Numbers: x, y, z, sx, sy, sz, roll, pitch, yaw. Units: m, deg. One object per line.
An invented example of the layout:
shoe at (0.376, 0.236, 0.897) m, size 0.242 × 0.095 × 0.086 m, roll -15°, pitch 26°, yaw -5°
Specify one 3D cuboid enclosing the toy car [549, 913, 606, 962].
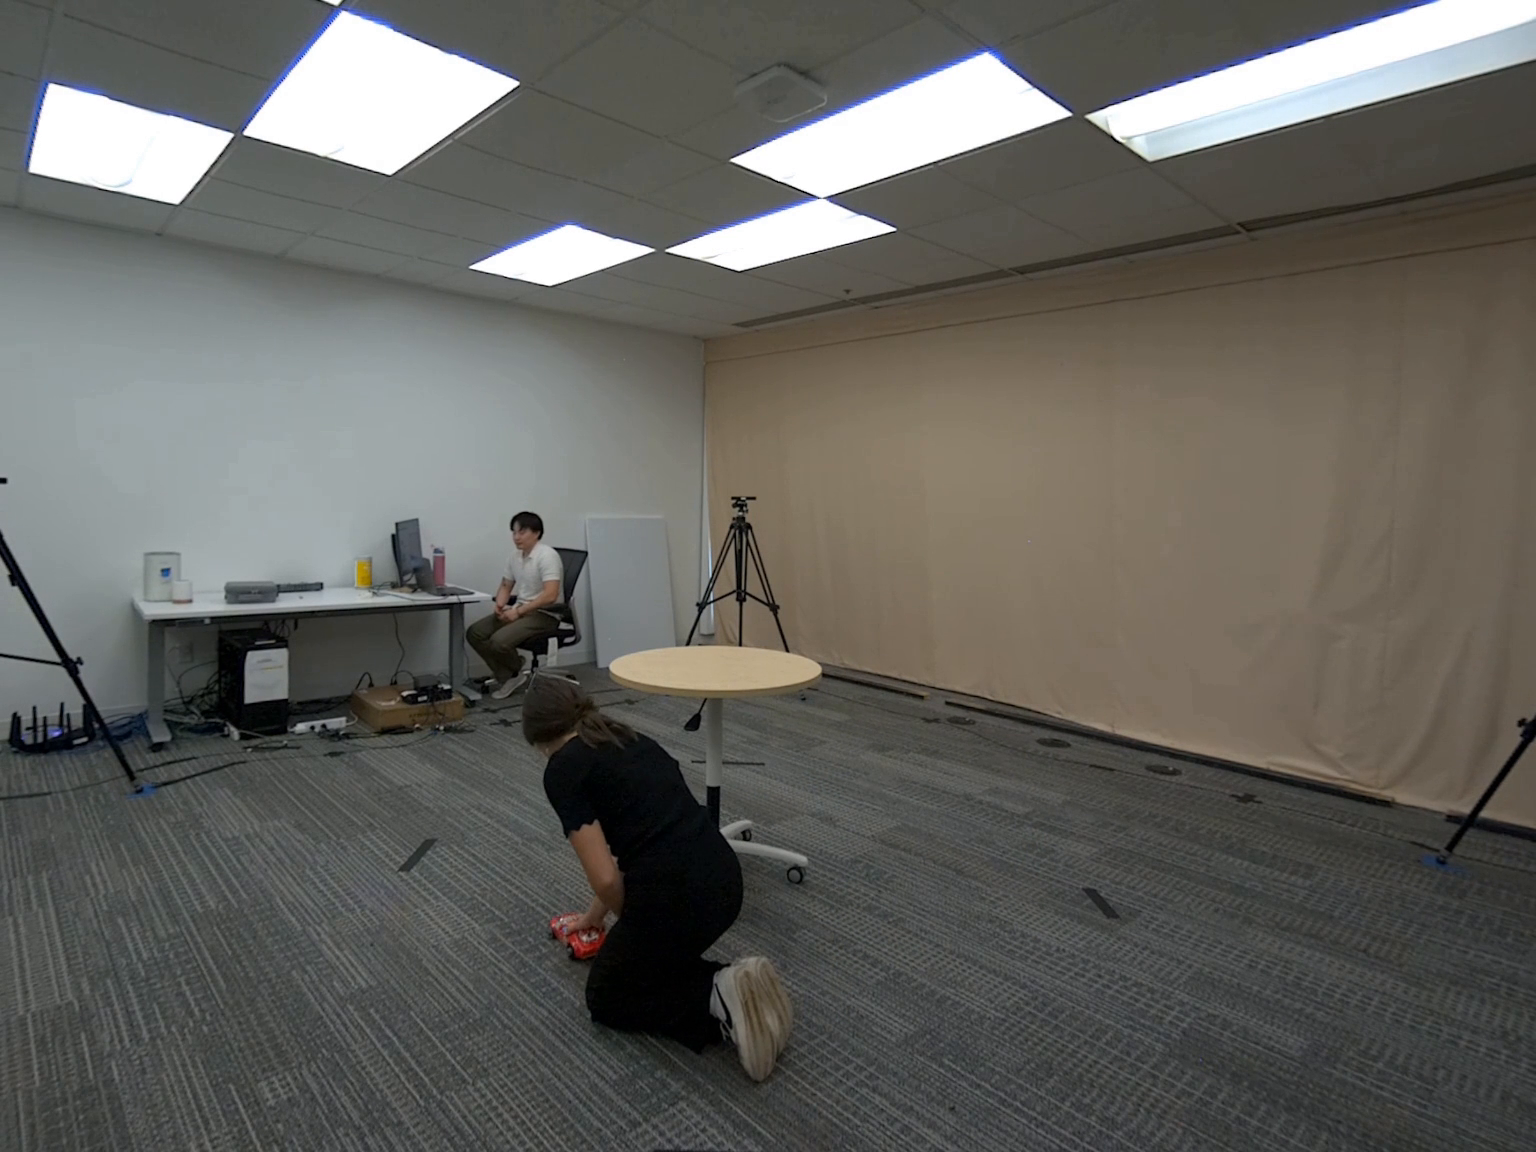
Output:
toy car at (-0.590, 1.111, 2.587) m, size 0.127 × 0.083 × 0.259 m, roll -2°, pitch -4°, yaw -36°
